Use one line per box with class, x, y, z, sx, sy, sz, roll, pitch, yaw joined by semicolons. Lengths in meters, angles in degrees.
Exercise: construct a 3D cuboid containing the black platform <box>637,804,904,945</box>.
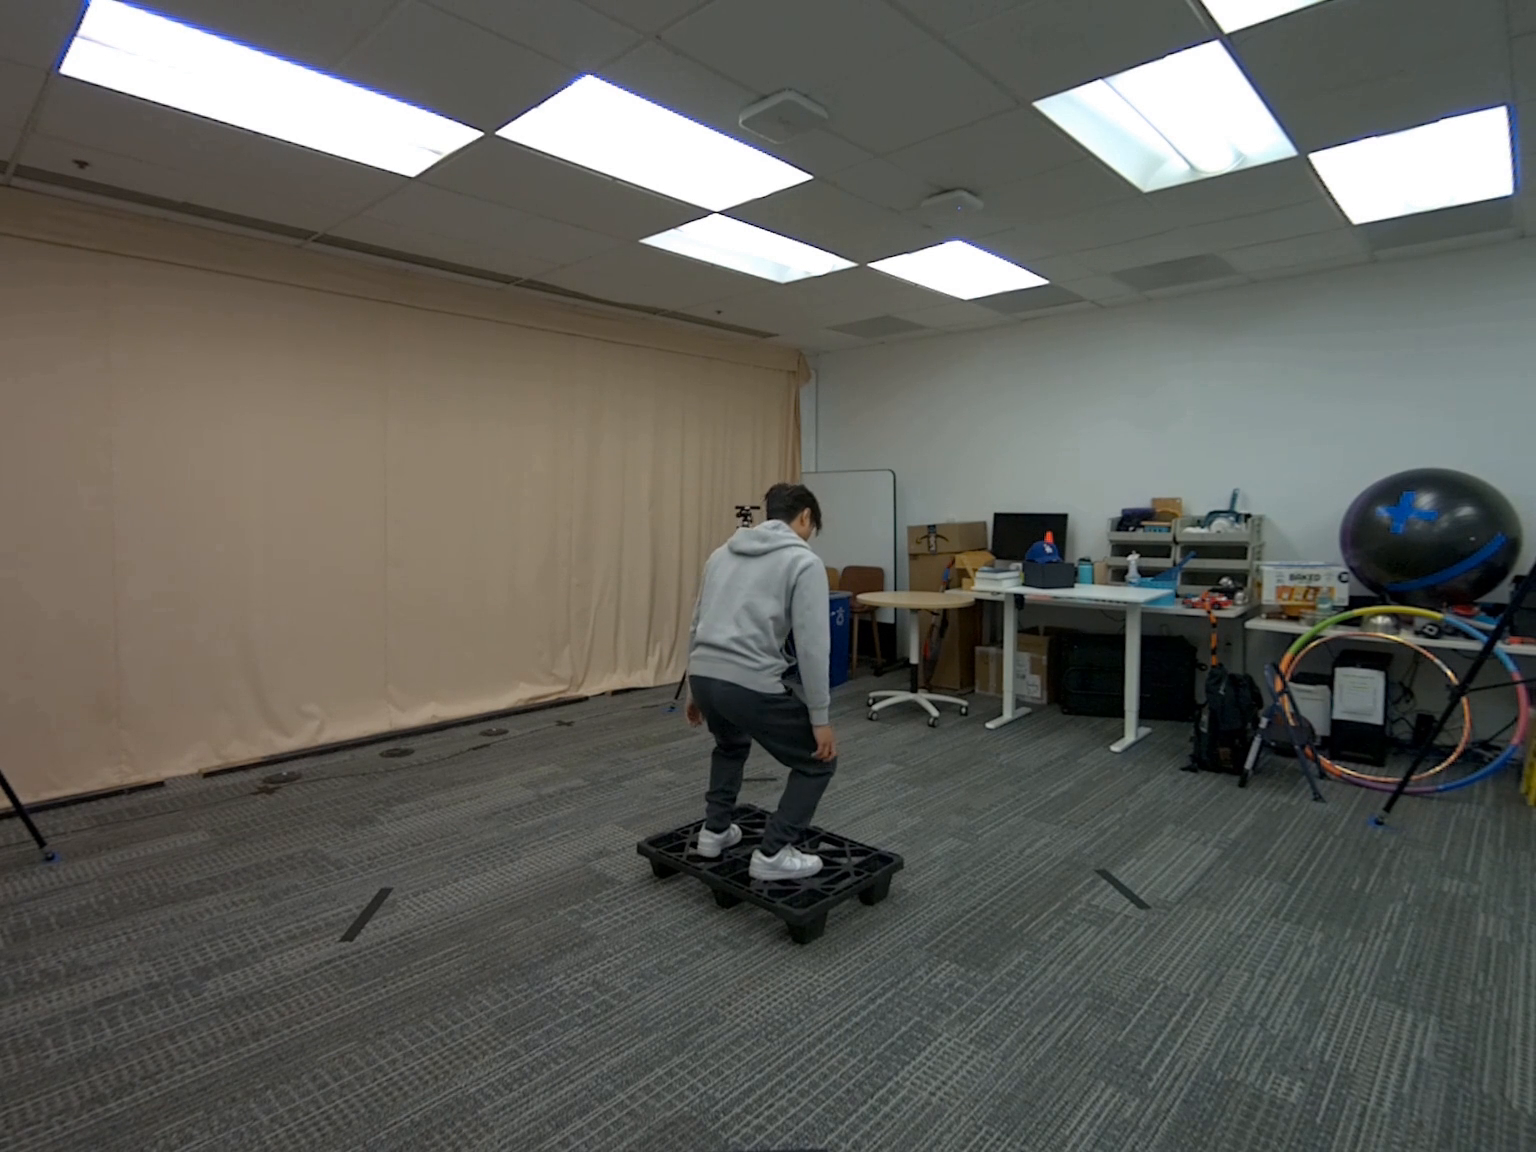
black platform;-0.003;1.067;3.077;0.832;0.143;0.587;4;7;44
